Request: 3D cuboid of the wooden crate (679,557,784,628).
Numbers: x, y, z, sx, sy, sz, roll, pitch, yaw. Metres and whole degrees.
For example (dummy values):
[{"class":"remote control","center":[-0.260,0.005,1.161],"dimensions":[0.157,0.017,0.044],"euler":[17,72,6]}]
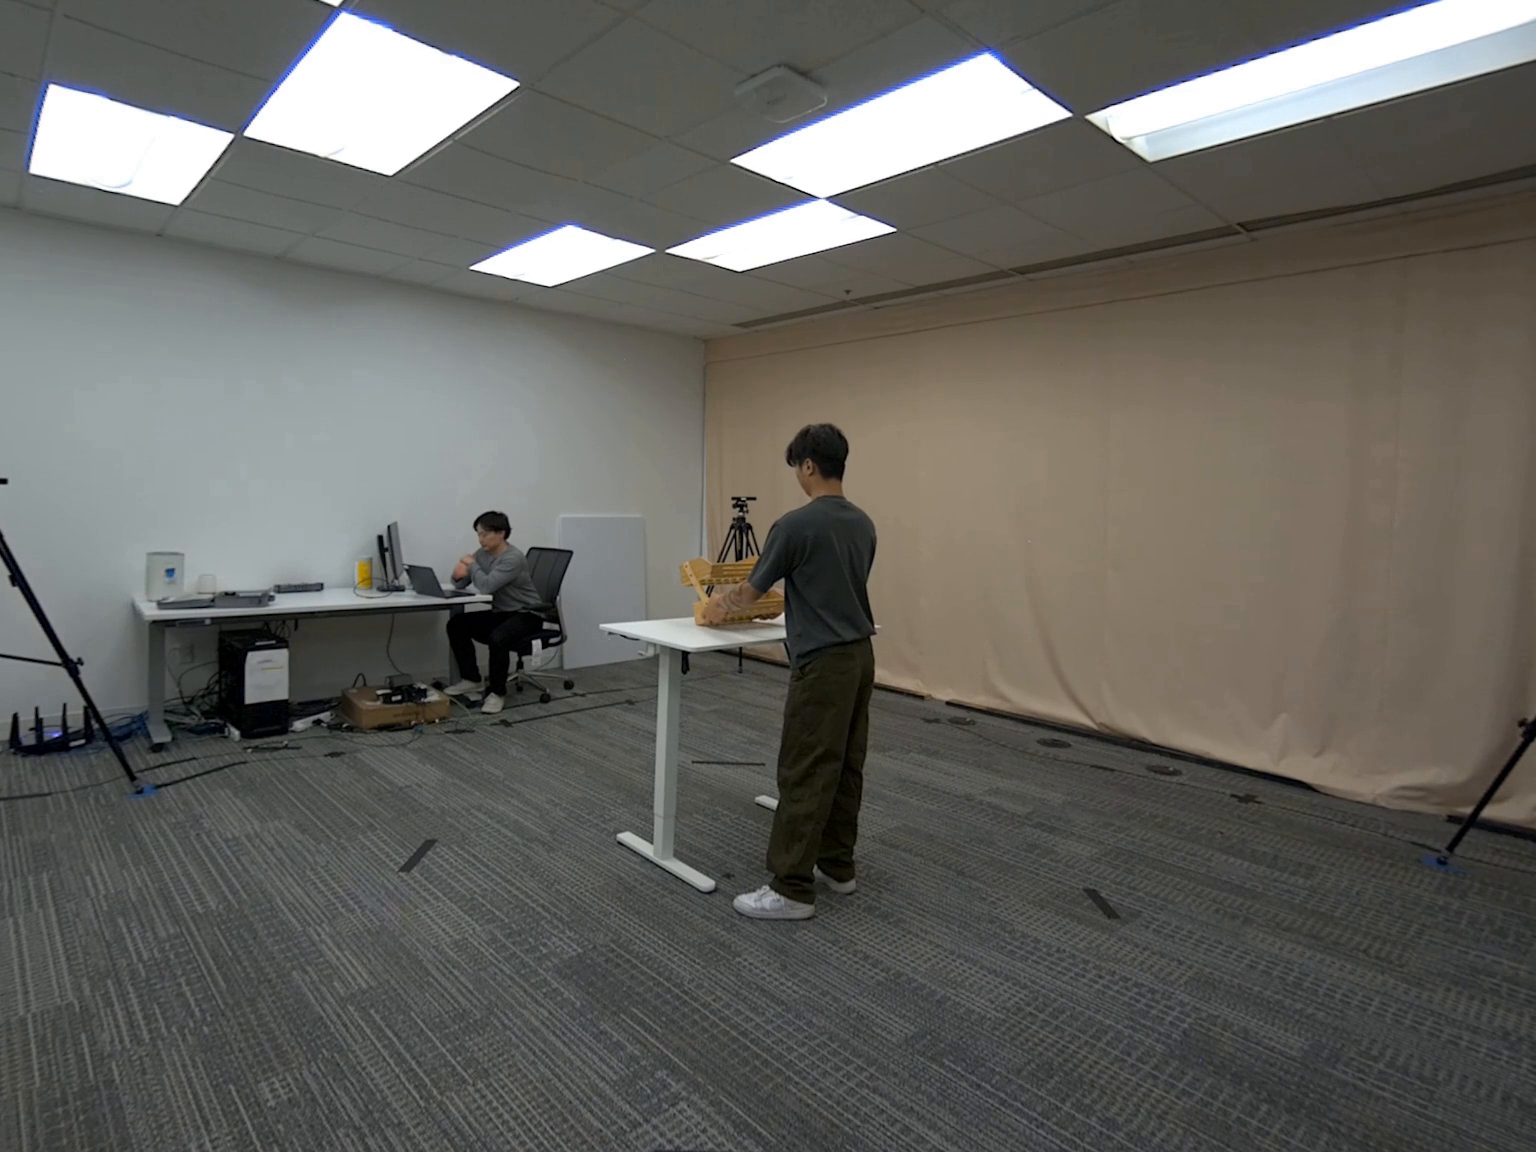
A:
[{"class":"wooden crate","center":[-0.148,0.043,3.413],"dimensions":[0.317,0.275,0.307],"euler":[-1,-11,-43]}]
